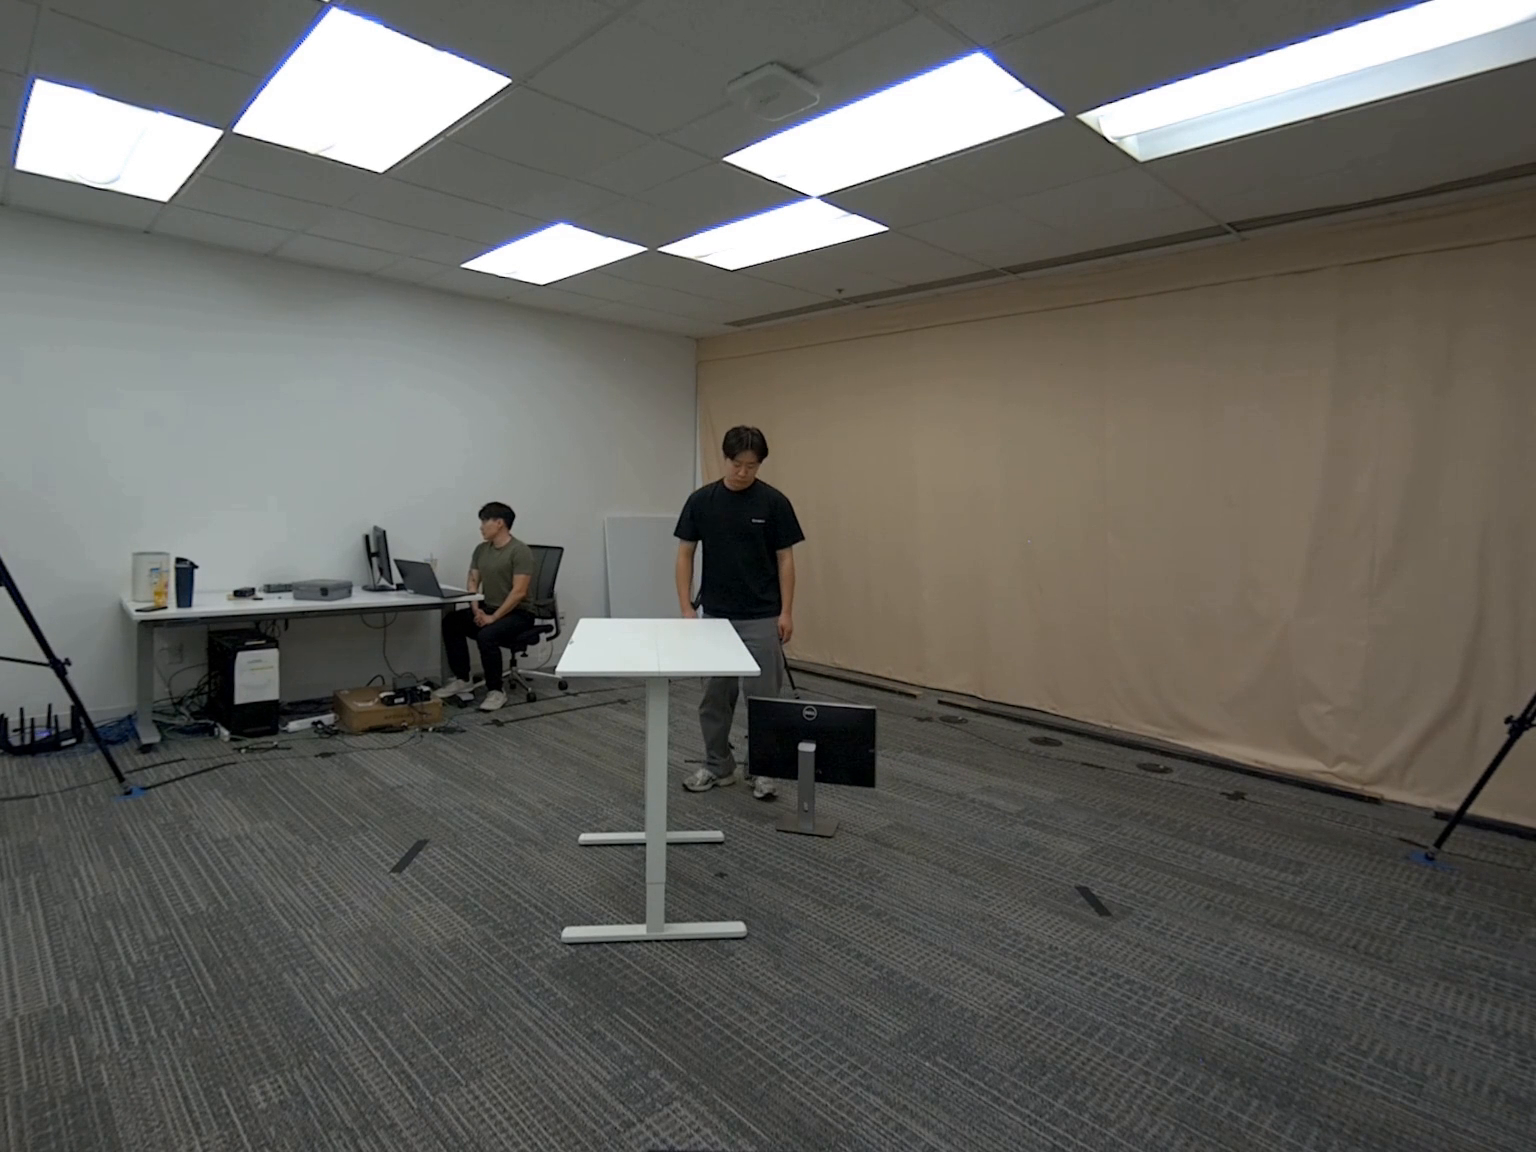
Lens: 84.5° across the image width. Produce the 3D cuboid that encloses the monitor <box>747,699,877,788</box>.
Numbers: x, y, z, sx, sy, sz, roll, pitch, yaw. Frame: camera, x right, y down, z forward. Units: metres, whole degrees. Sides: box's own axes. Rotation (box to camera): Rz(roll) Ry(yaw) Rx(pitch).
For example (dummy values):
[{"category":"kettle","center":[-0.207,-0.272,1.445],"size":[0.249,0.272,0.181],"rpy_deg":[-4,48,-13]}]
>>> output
[{"category":"monitor","center":[0.163,0.813,3.590],"size":[0.569,0.566,0.219],"rpy_deg":[2,-1,17]}]
